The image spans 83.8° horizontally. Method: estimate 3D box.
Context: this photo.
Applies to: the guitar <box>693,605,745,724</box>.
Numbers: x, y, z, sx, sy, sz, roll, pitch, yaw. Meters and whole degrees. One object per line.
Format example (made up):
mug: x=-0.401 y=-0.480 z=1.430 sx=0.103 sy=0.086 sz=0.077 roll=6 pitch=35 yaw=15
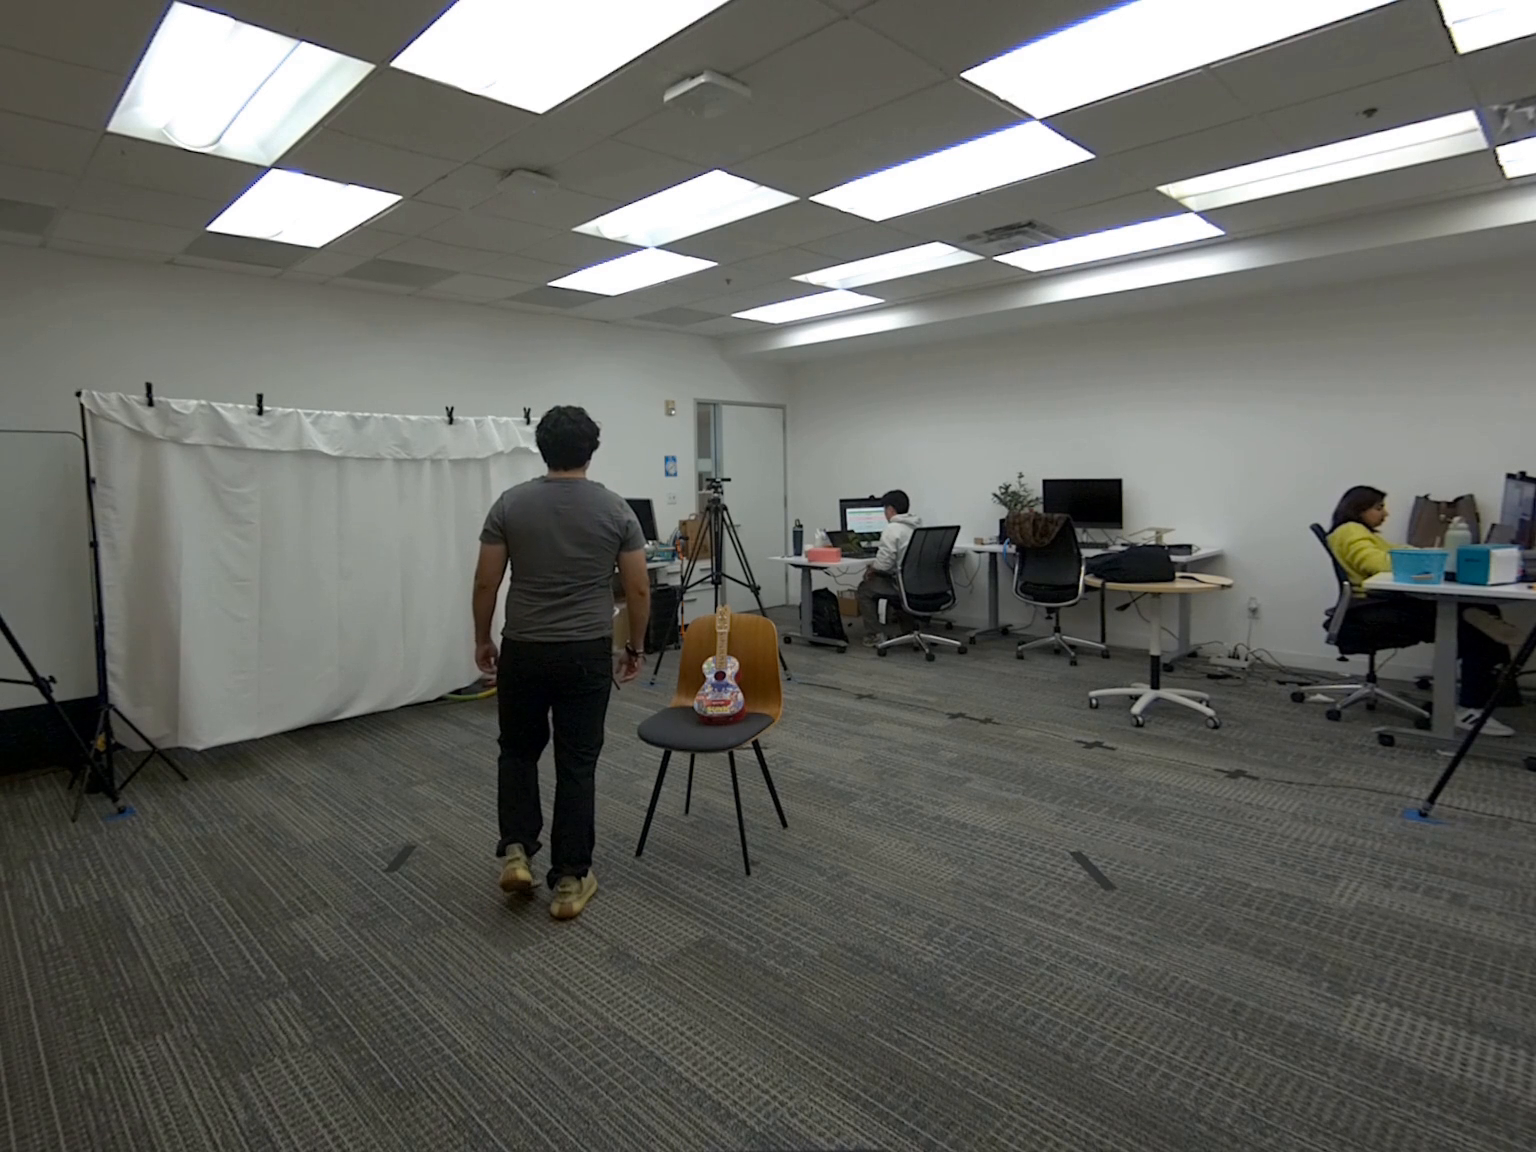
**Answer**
guitar: x=-0.150 y=0.338 z=3.345 sx=0.196 sy=0.507 sz=0.068 roll=2 pitch=-37 yaw=13
